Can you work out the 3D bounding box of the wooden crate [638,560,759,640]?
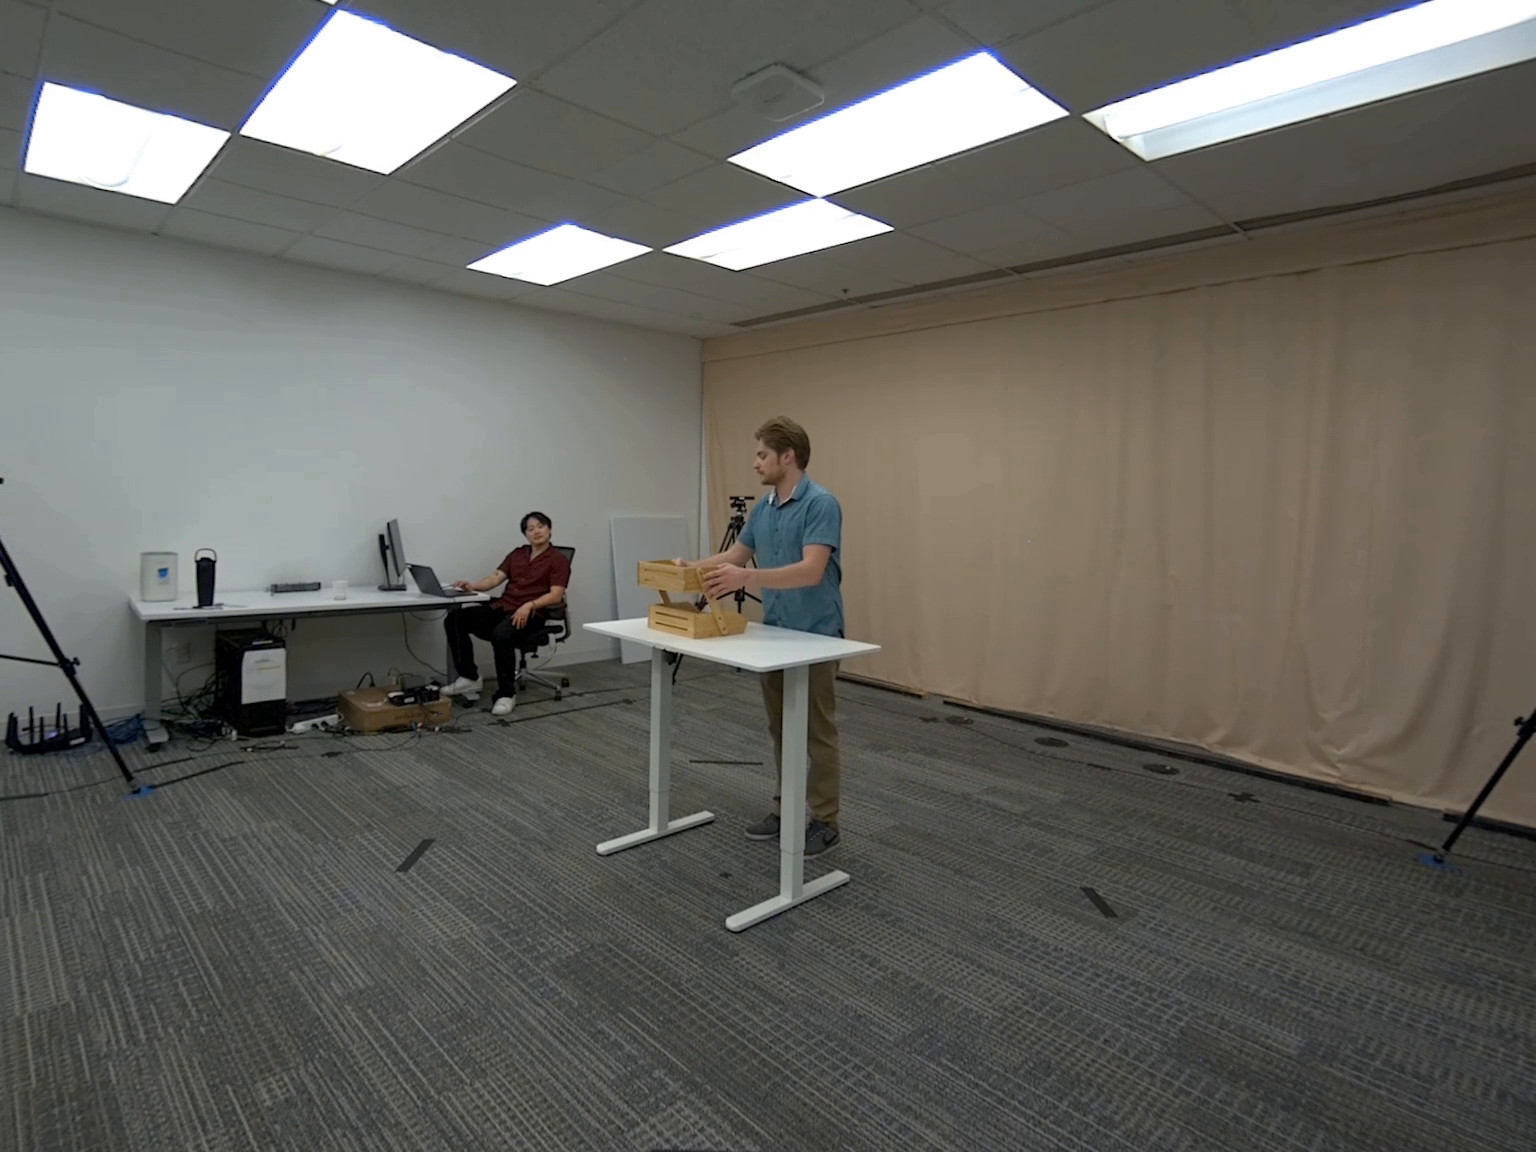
[{"bbox_3d":[-0.289,0.079,3.179,0.295,0.272,0.333,-4,7,-41],"label":"wooden crate"}]
